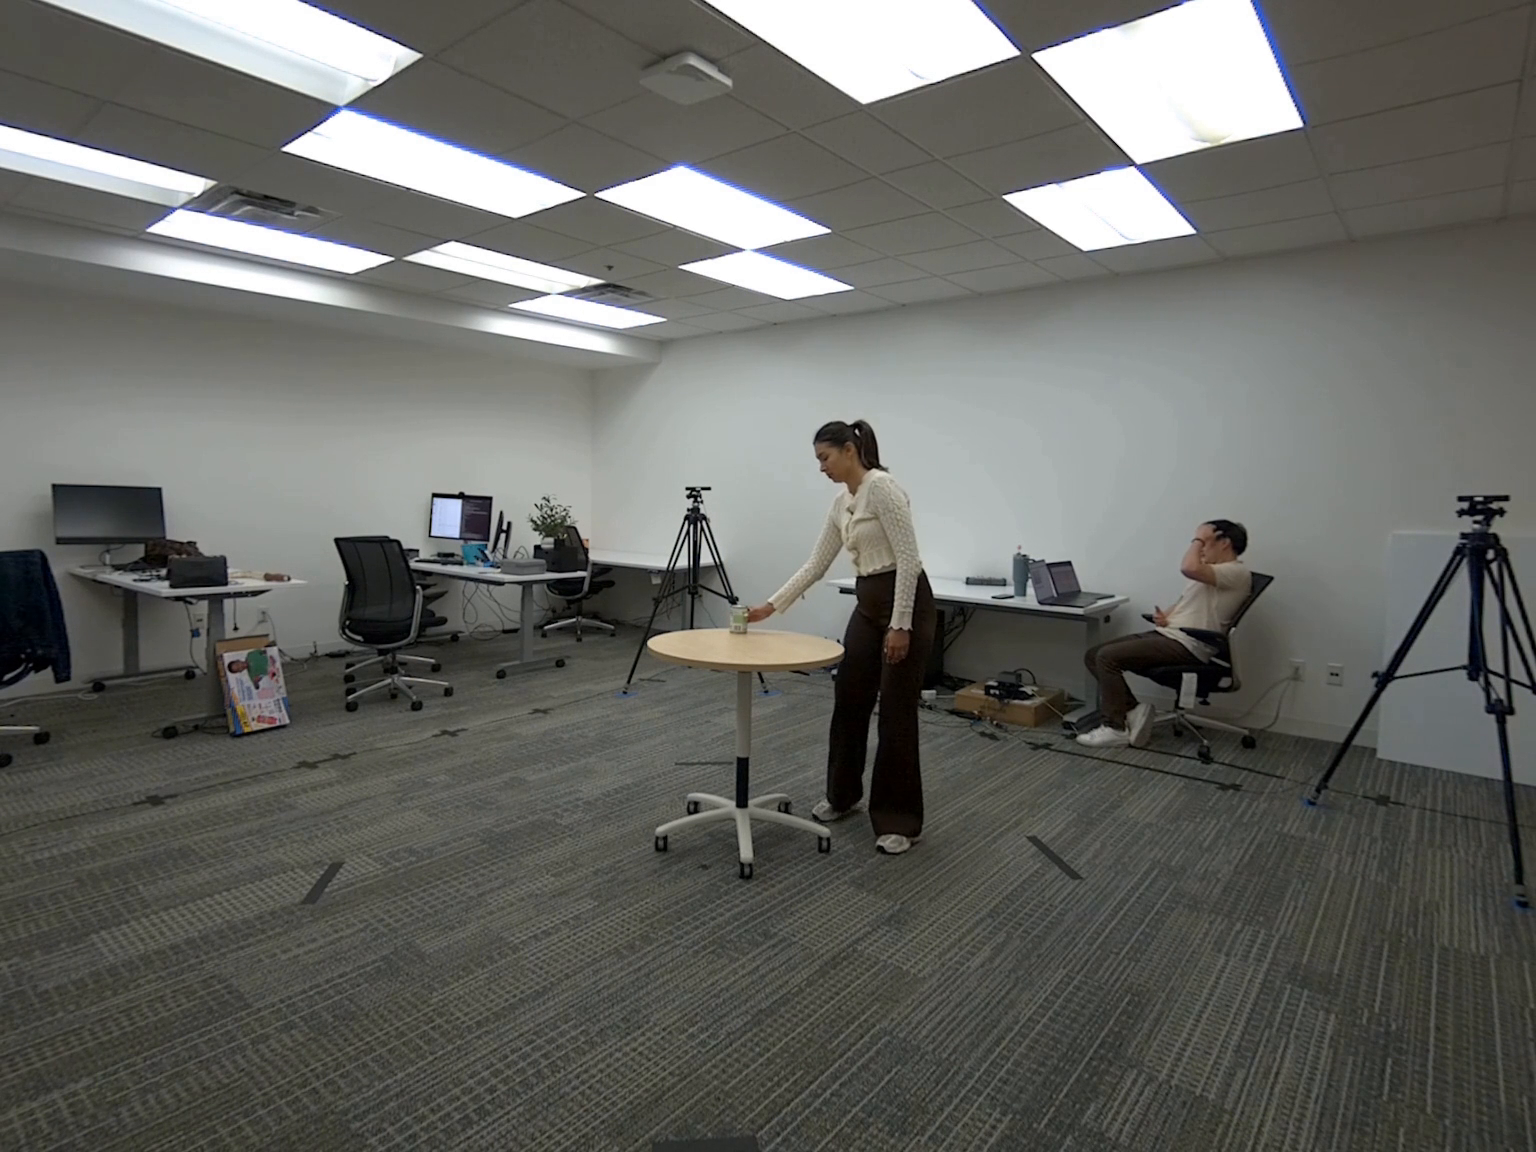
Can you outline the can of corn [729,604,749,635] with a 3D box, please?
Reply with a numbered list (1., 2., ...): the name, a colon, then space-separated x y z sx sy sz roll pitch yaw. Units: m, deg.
1. can of corn: -0.127 0.183 3.611 0.074 0.111 0.074 4 2 -2
